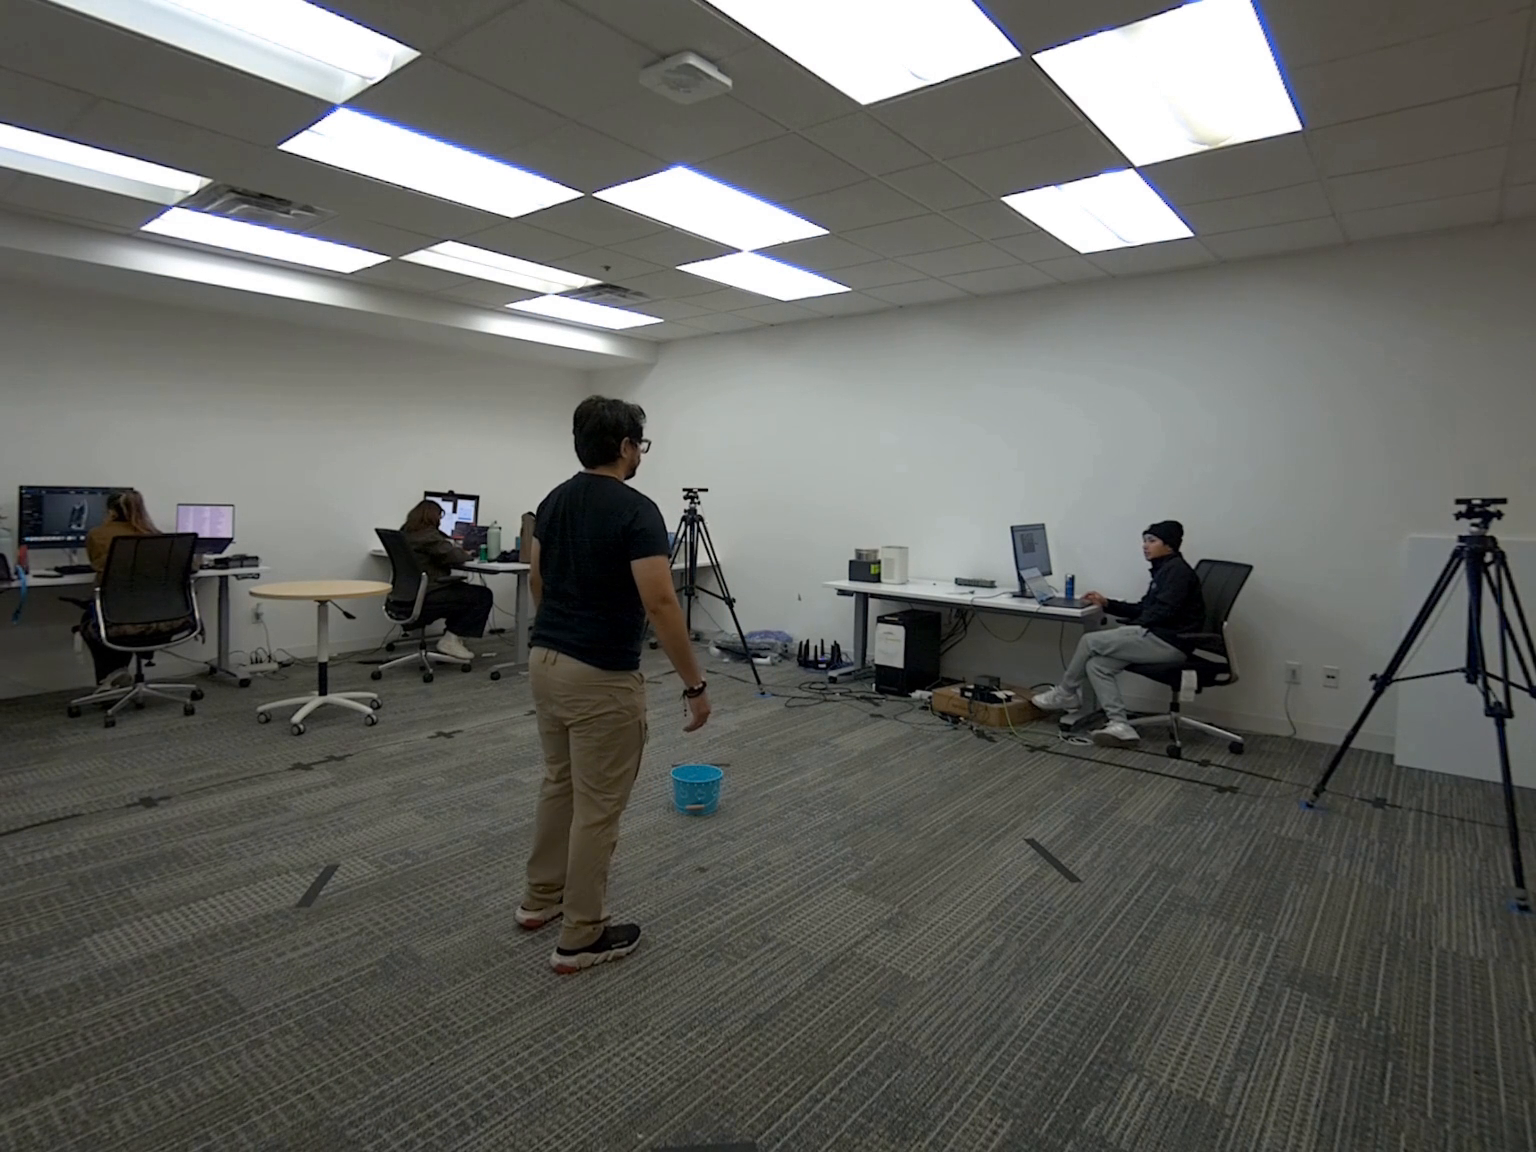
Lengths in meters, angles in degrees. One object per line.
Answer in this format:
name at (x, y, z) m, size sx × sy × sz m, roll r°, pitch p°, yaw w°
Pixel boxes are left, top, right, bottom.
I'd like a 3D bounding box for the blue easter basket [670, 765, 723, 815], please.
blue easter basket at (-0.329, 0.929, 3.718) m, size 0.243 × 0.155 × 0.245 m, roll 1°, pitch 4°, yaw -2°
